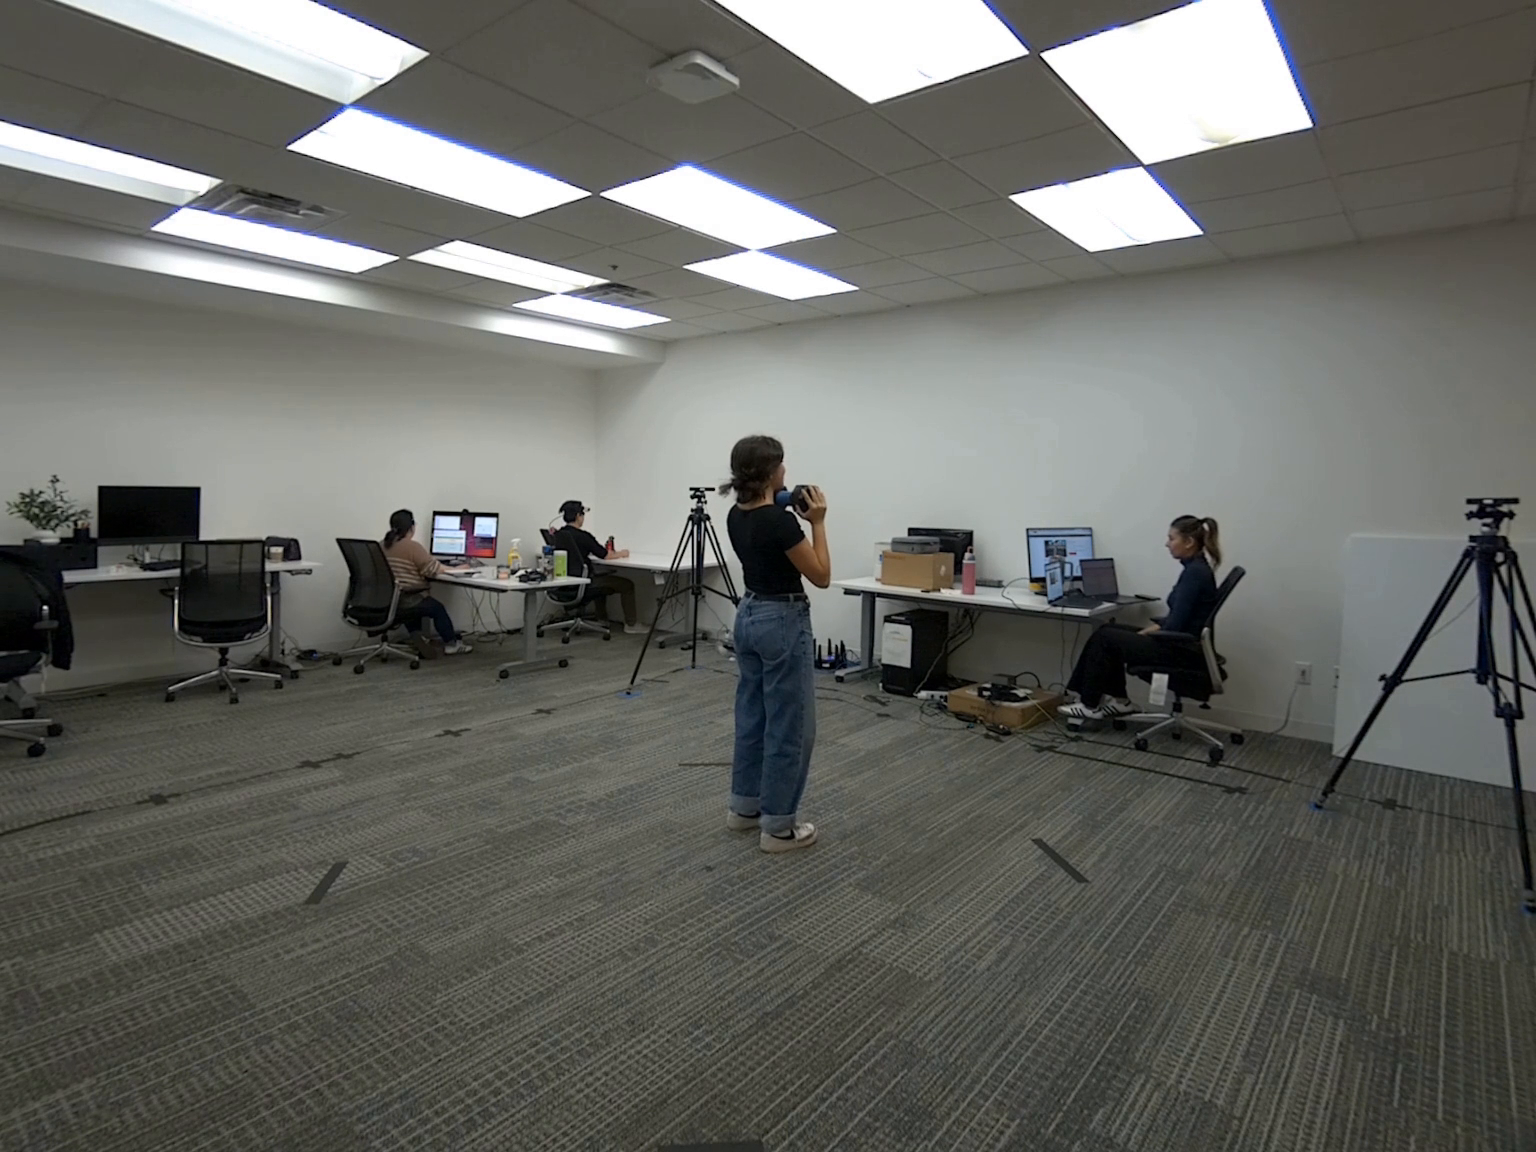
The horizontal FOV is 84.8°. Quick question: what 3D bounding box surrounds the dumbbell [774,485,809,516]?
[{"bbox_3d":[0.077,-0.312,3.367,0.105,0.123,0.303,36,-15,-31],"label":"dumbbell"}]
